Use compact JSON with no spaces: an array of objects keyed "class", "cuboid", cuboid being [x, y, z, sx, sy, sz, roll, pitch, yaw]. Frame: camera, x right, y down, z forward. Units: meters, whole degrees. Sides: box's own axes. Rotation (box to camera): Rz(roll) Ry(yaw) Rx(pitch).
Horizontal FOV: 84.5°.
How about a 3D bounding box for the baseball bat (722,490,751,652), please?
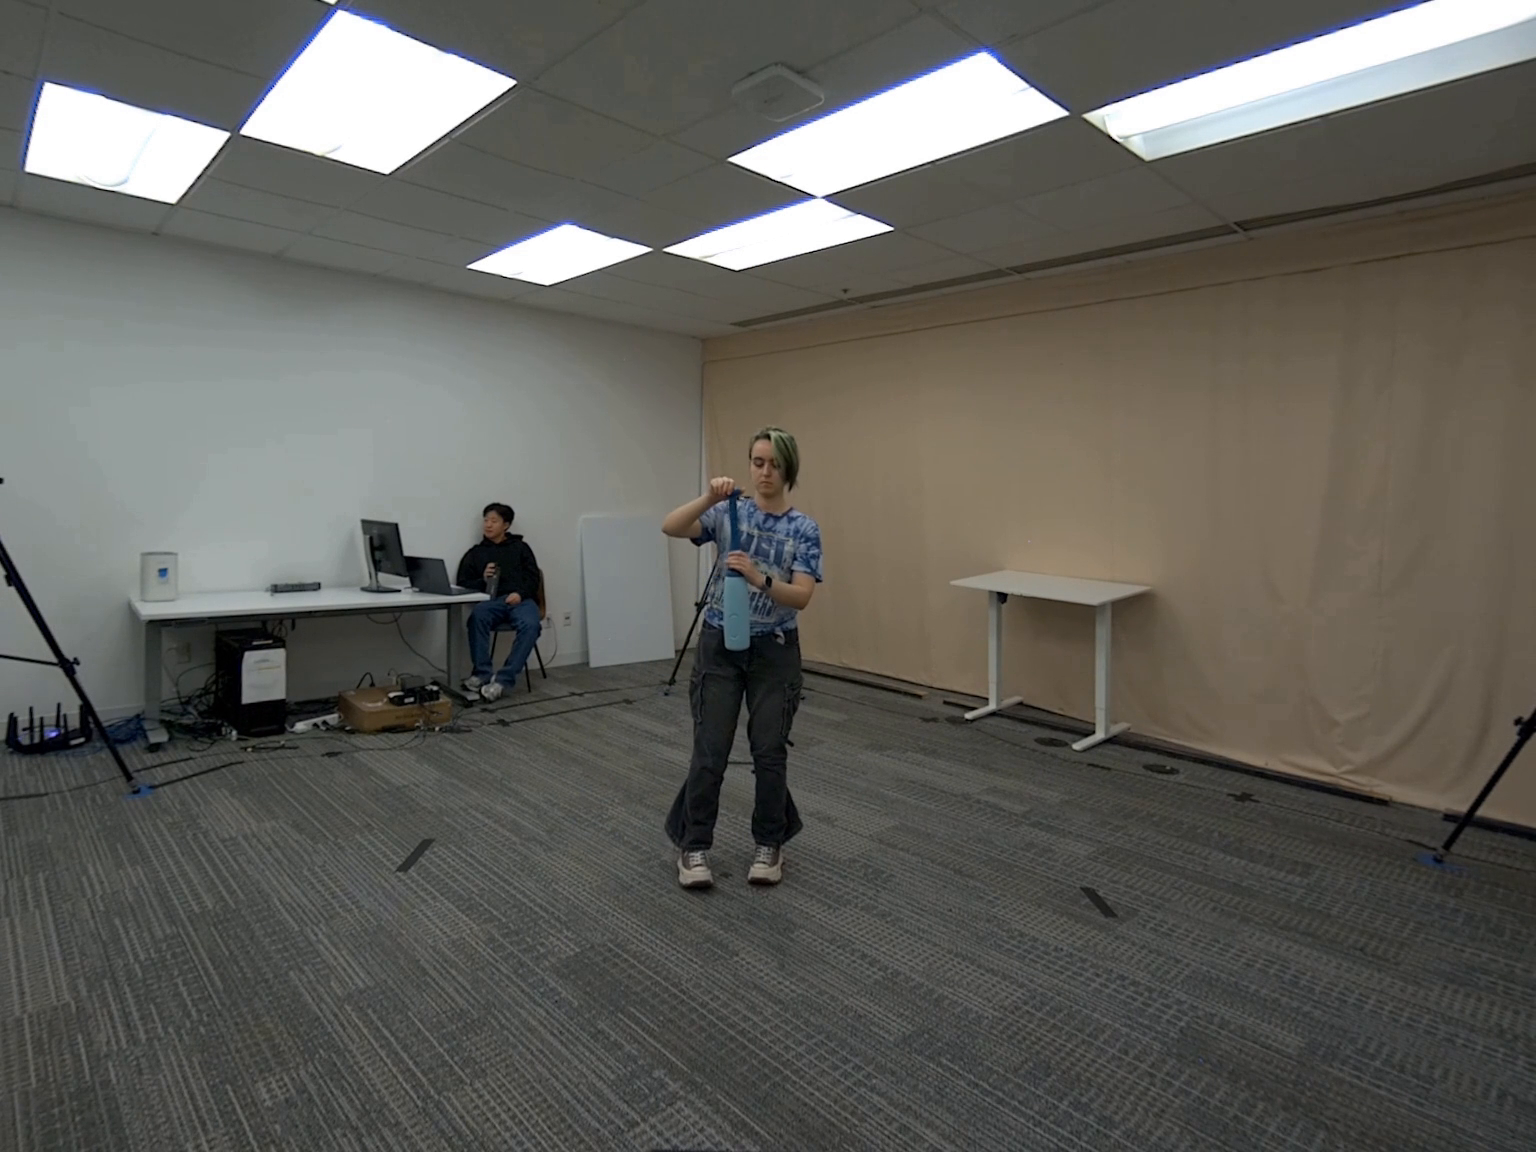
[{"class":"baseball bat","cuboid":[-0.114,-0.022,2.805,0.089,0.539,0.090,2,9,-2]}]
